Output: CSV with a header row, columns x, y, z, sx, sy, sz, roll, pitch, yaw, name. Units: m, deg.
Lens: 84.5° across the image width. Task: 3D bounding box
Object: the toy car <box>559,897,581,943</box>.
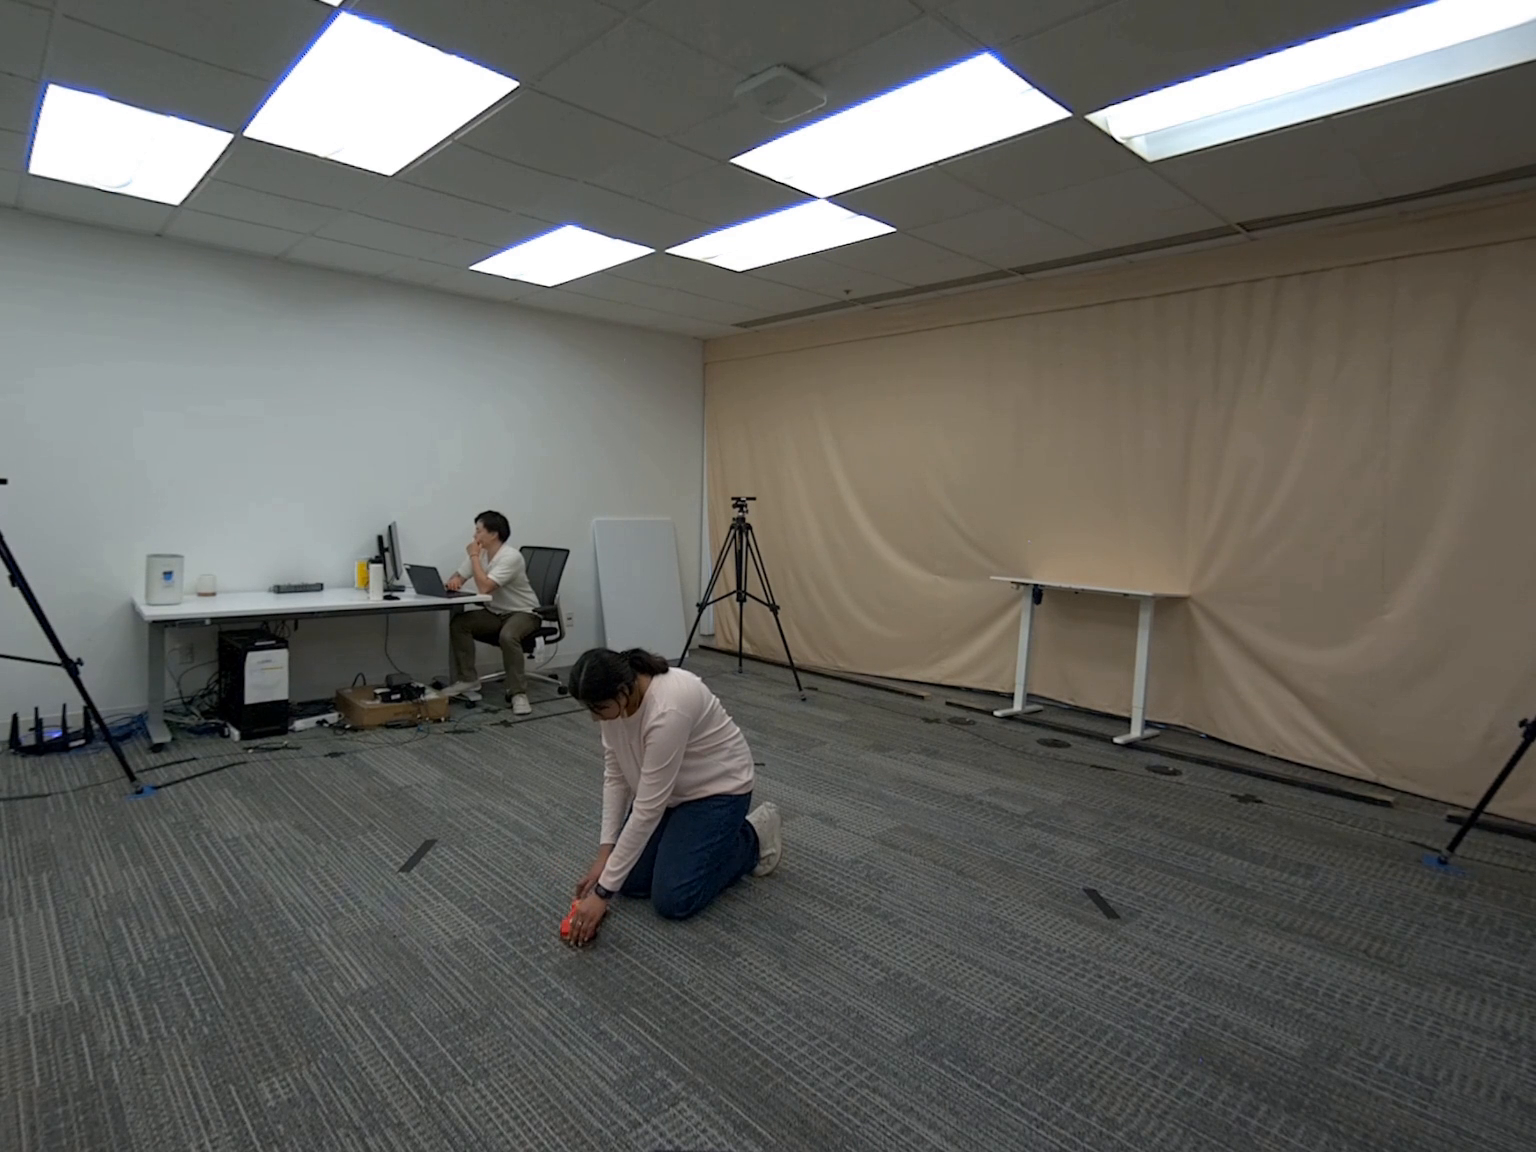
x,y,z,sx,sy,sz,roll,pitch,yaw,name
-0.600,1.107,2.694,0.131,0.084,0.252,1,-7,6,toy car
